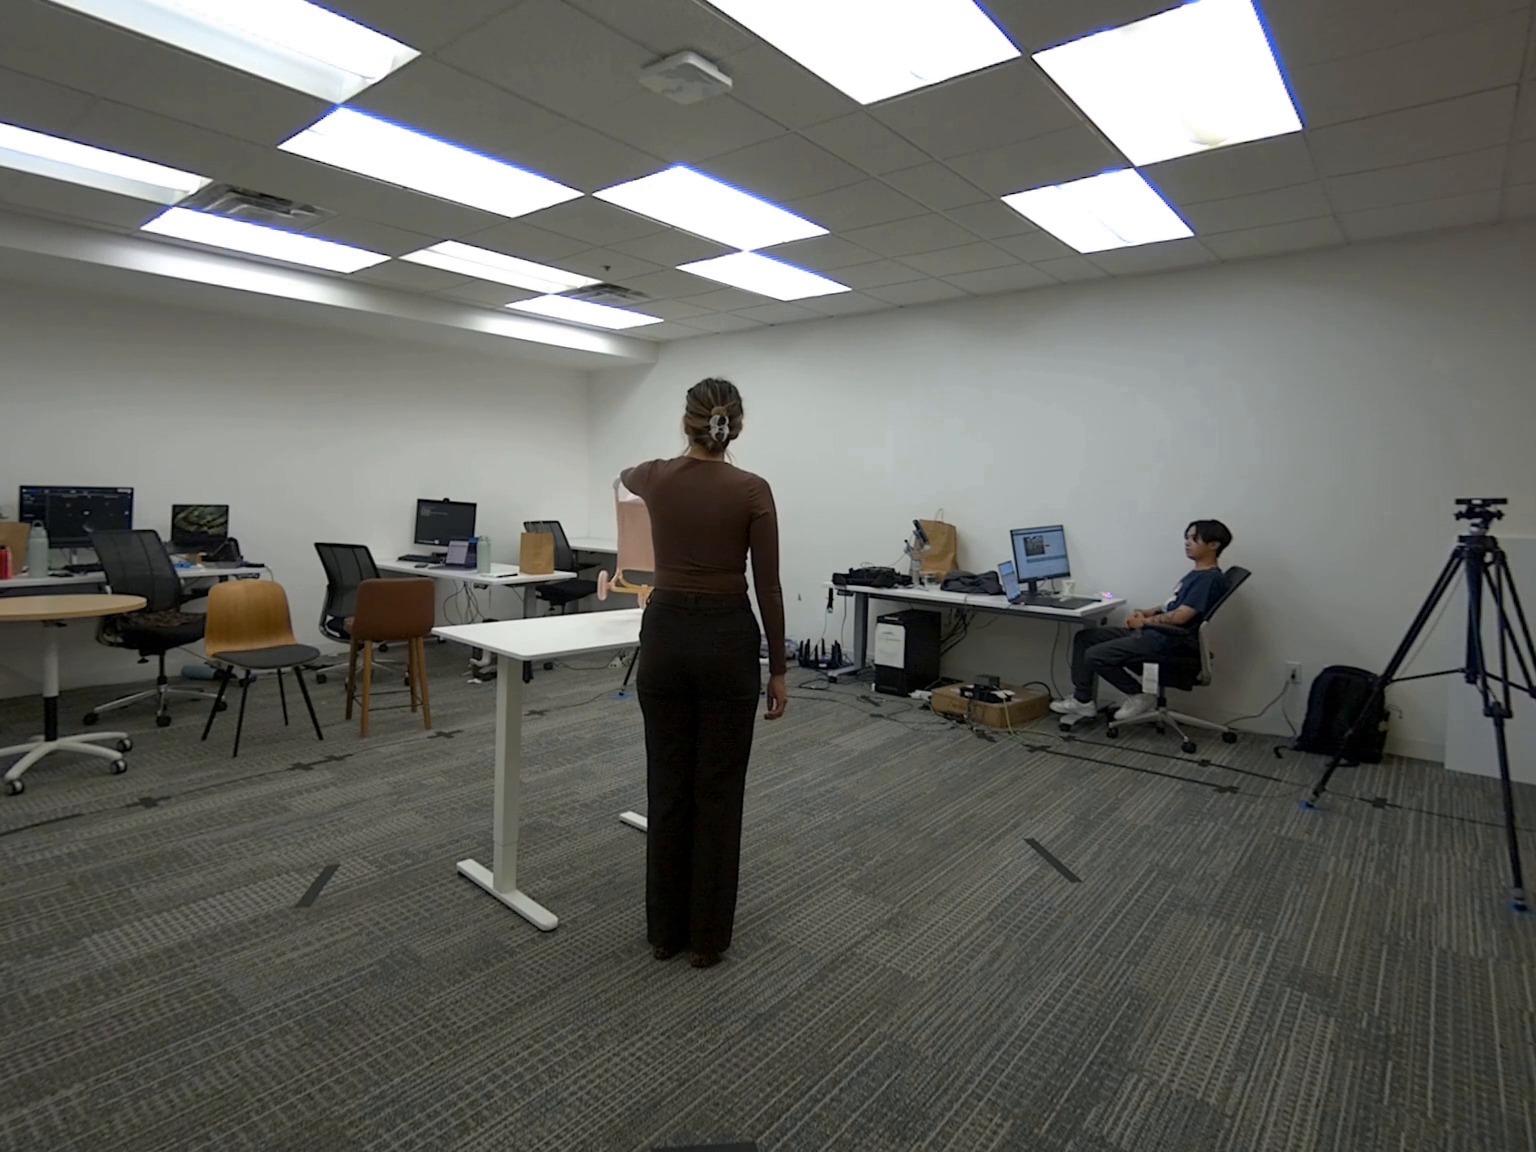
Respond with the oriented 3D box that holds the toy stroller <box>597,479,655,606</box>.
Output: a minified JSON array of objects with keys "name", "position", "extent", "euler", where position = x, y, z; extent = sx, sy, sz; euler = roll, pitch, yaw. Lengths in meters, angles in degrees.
[{"name":"toy stroller","position":[-0.506,-0.120,3.348],"extent":[0.284,0.534,0.338],"euler":[3,1,7]}]
